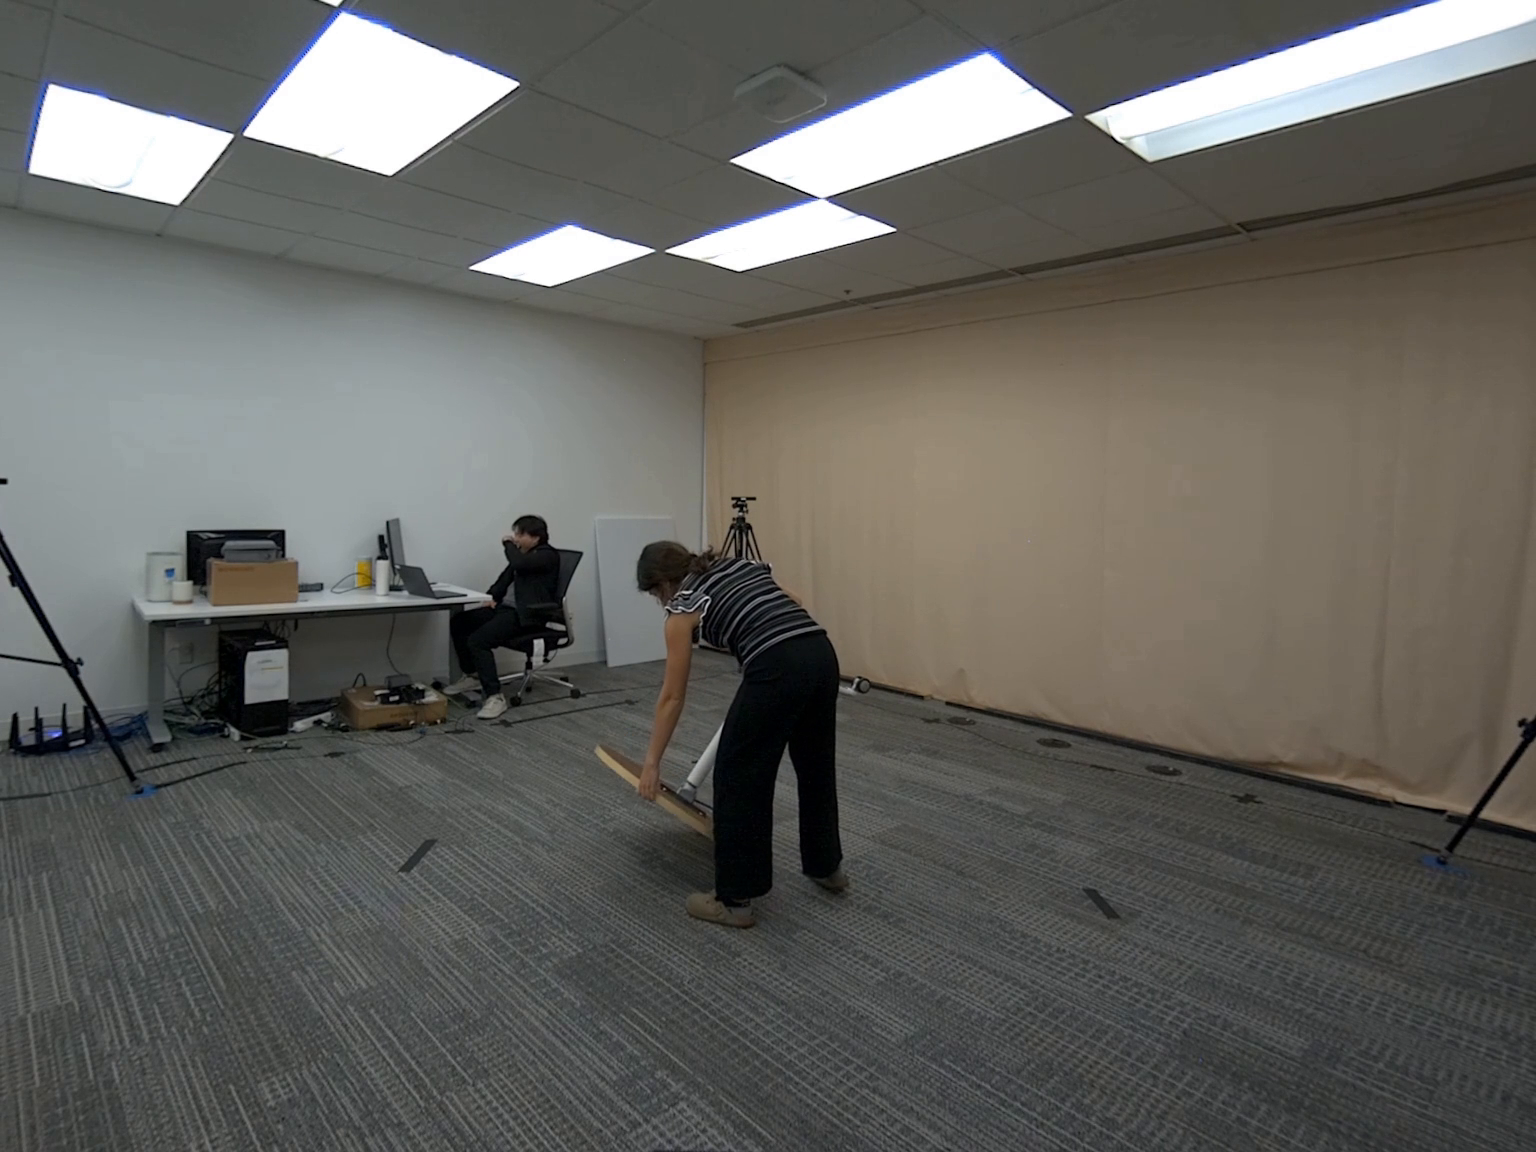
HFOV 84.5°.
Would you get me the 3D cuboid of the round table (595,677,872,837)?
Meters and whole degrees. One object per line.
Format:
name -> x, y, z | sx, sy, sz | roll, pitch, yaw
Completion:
round table -> -0.140, 0.552, 3.264 | 0.770, 0.796, 0.756 | 31, -13, 7
